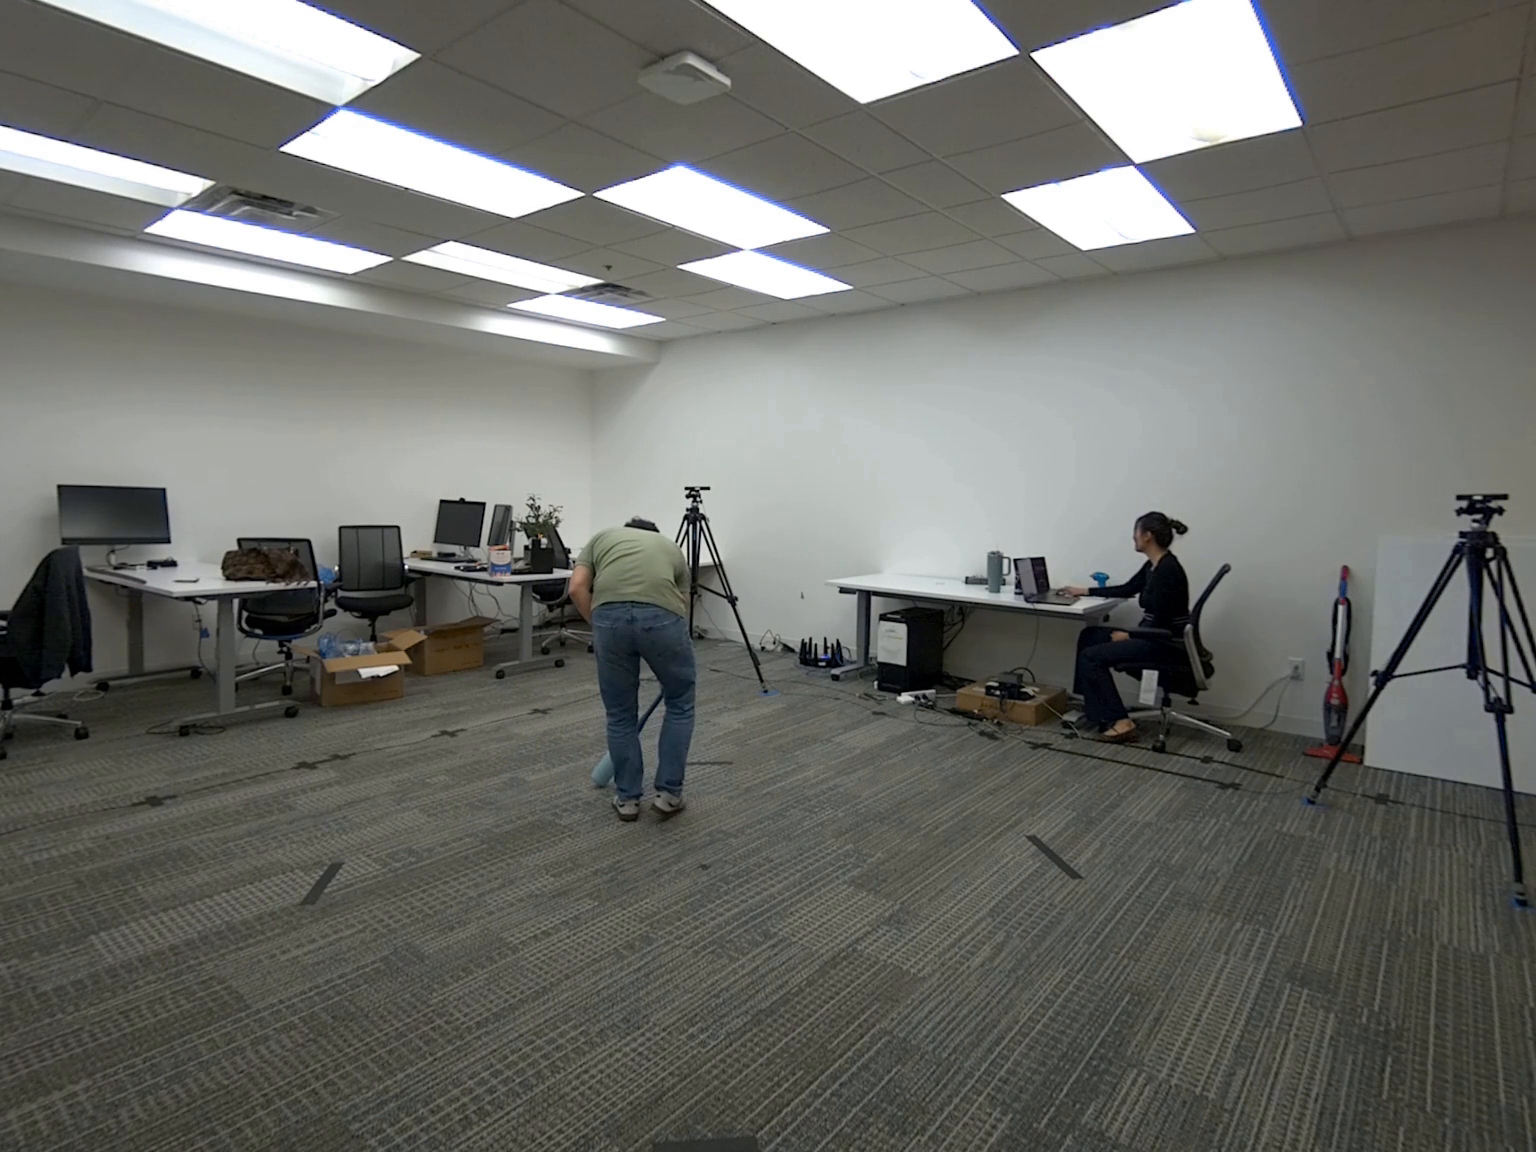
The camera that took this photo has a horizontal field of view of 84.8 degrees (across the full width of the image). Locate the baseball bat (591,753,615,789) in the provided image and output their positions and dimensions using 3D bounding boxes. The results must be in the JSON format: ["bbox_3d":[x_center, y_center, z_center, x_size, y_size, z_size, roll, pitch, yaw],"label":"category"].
[{"bbox_3d":[-0.646,0.738,3.979,0.090,0.543,0.088,36,-8,3],"label":"baseball bat"}]
